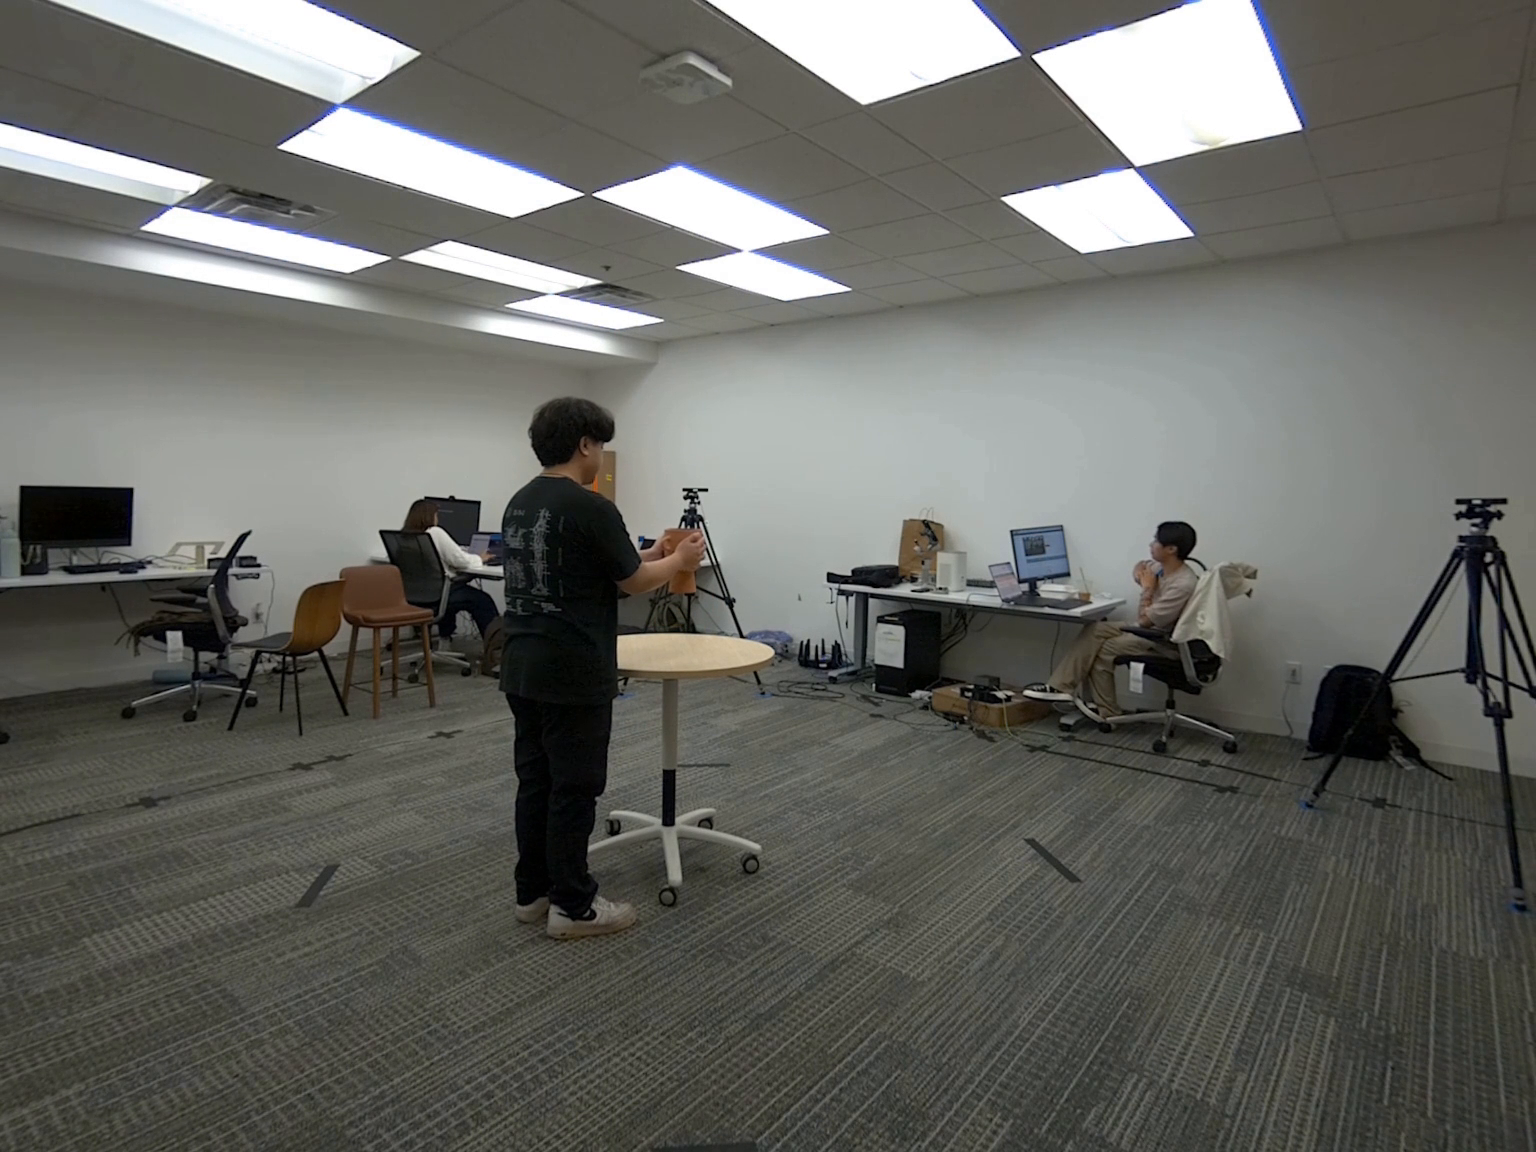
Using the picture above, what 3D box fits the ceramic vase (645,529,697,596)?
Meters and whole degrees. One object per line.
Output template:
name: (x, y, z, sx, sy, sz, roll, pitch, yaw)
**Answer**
ceramic vase: (-0.317, -0.053, 2.978, 0.157, 0.219, 0.136, 3, 2, -9)
